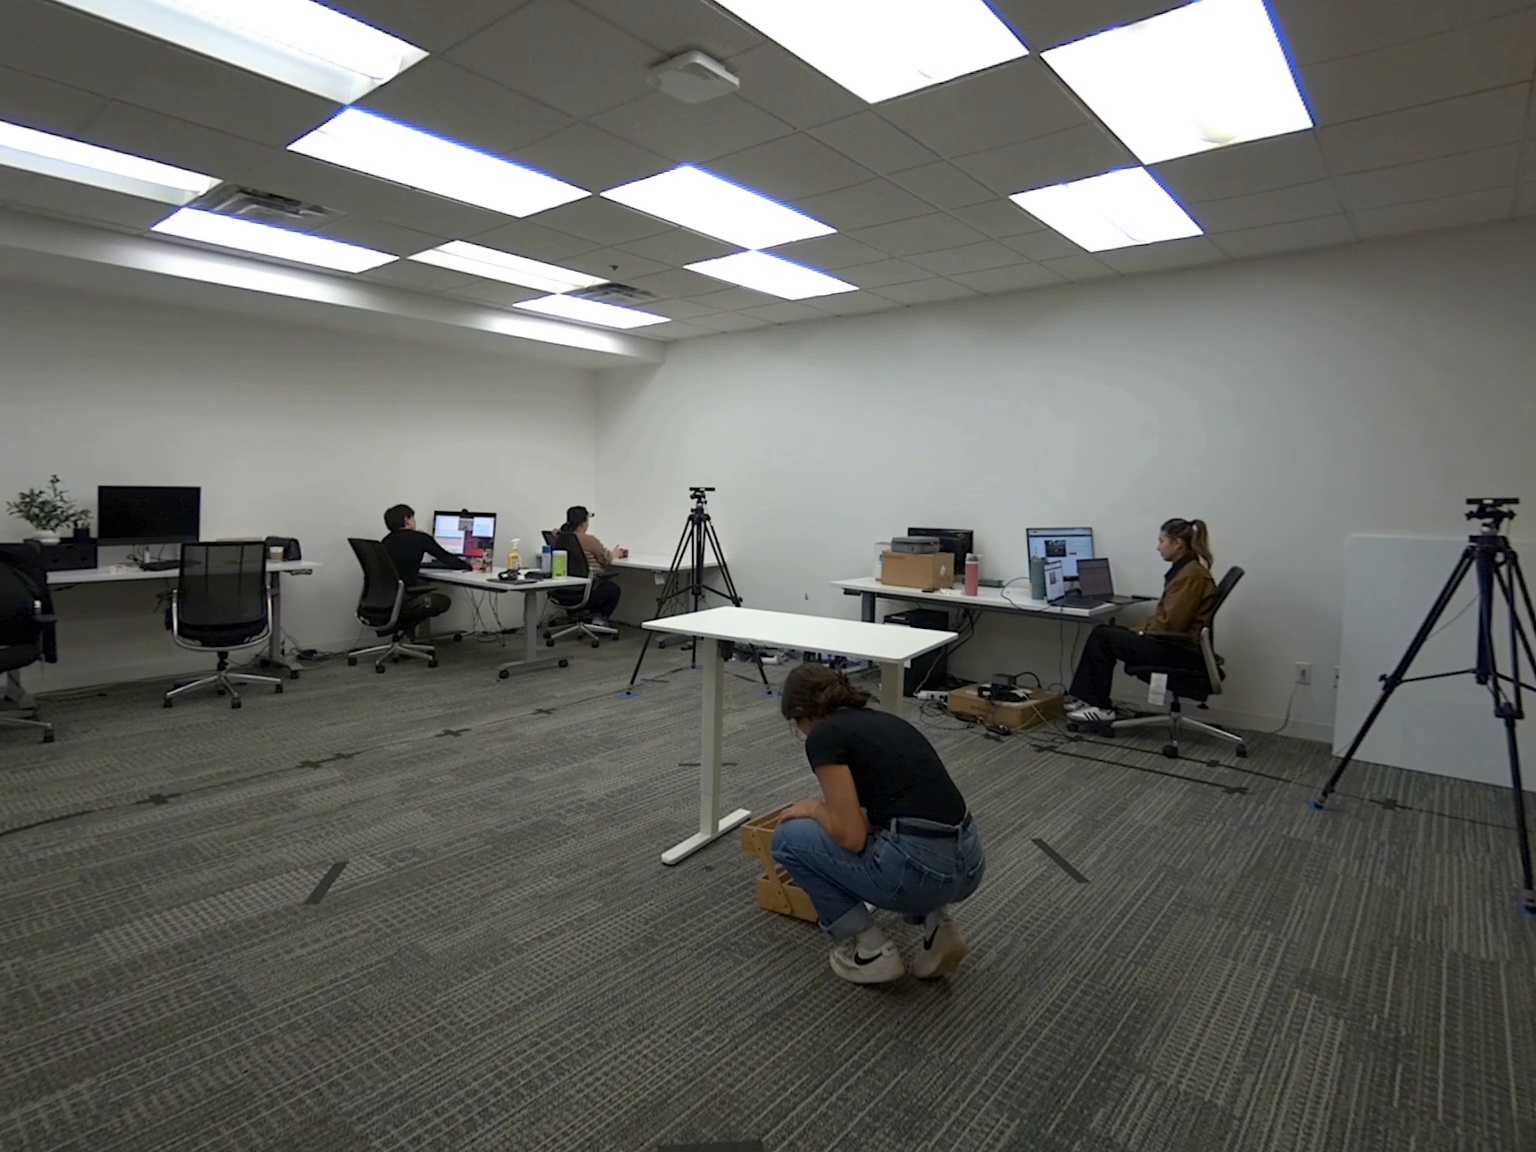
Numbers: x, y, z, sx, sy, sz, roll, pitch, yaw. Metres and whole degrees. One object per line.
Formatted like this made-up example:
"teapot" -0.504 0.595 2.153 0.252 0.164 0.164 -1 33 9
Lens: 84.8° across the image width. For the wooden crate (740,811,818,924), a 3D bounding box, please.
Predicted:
"wooden crate" 0.117 0.951 2.885 0.311 0.273 0.315 -2 1 37
